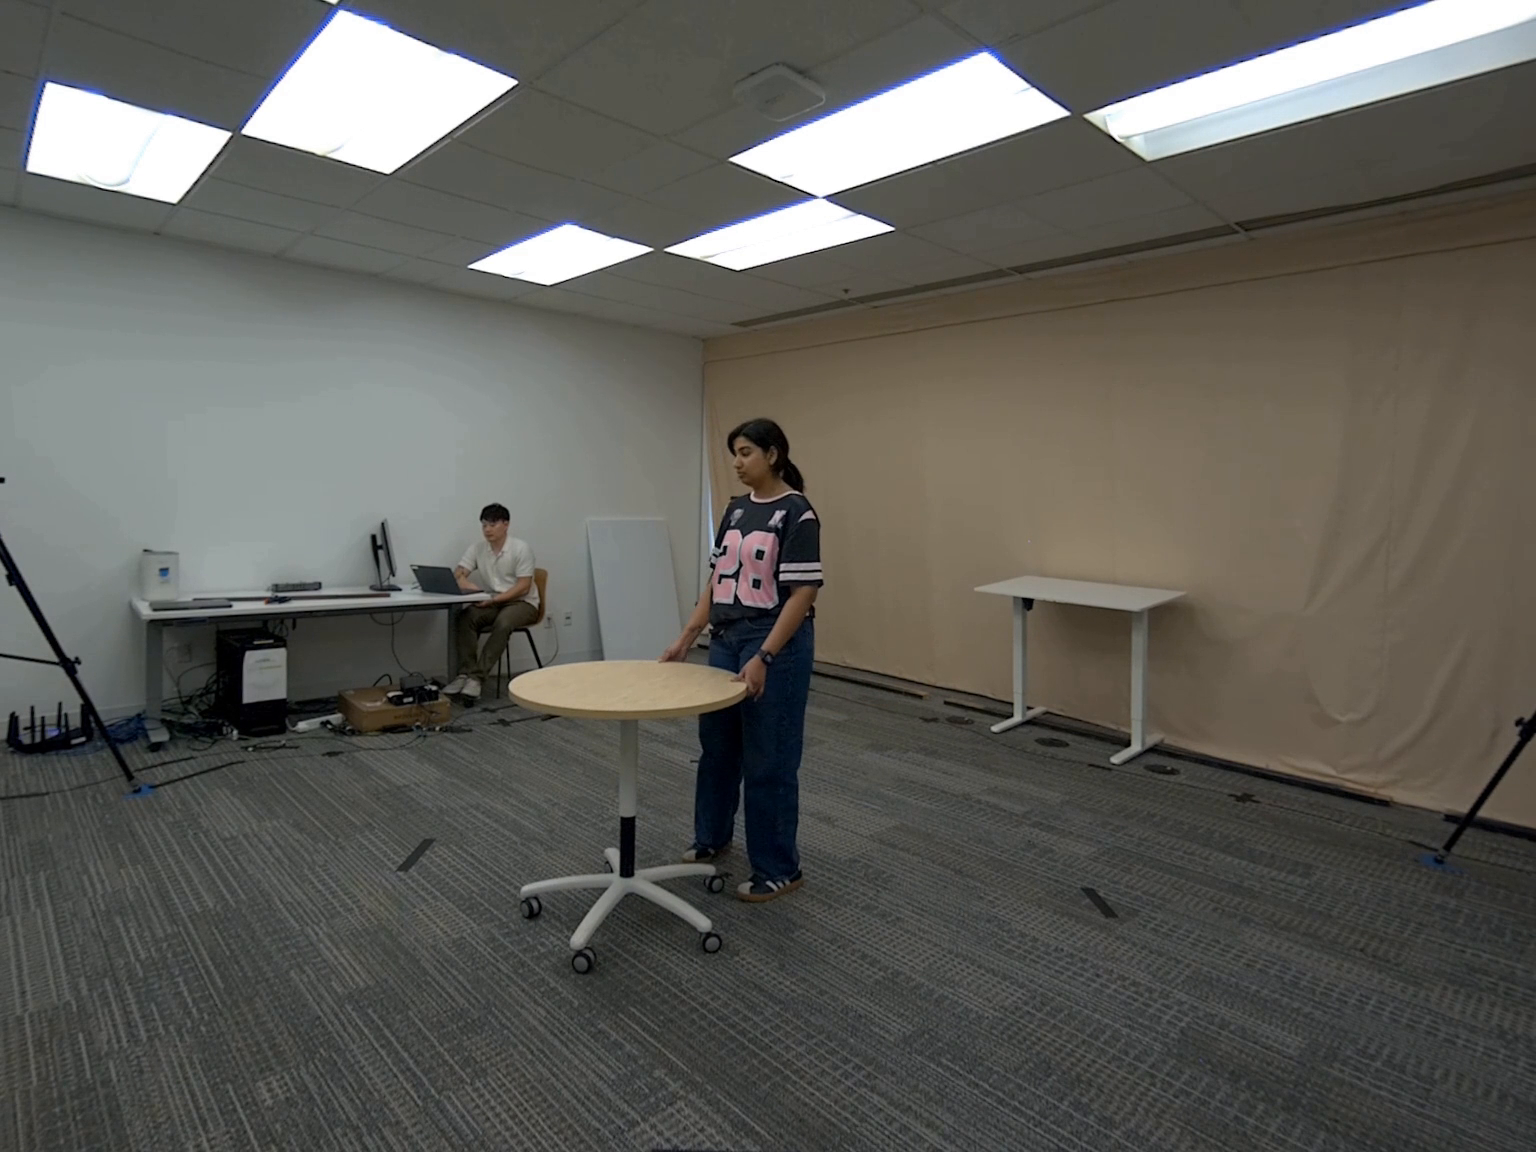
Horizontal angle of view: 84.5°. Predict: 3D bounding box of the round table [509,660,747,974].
[{"bbox_3d":[-0.452,0.734,2.762,0.784,0.784,0.788,1,4,-1],"label":"round table"}]
